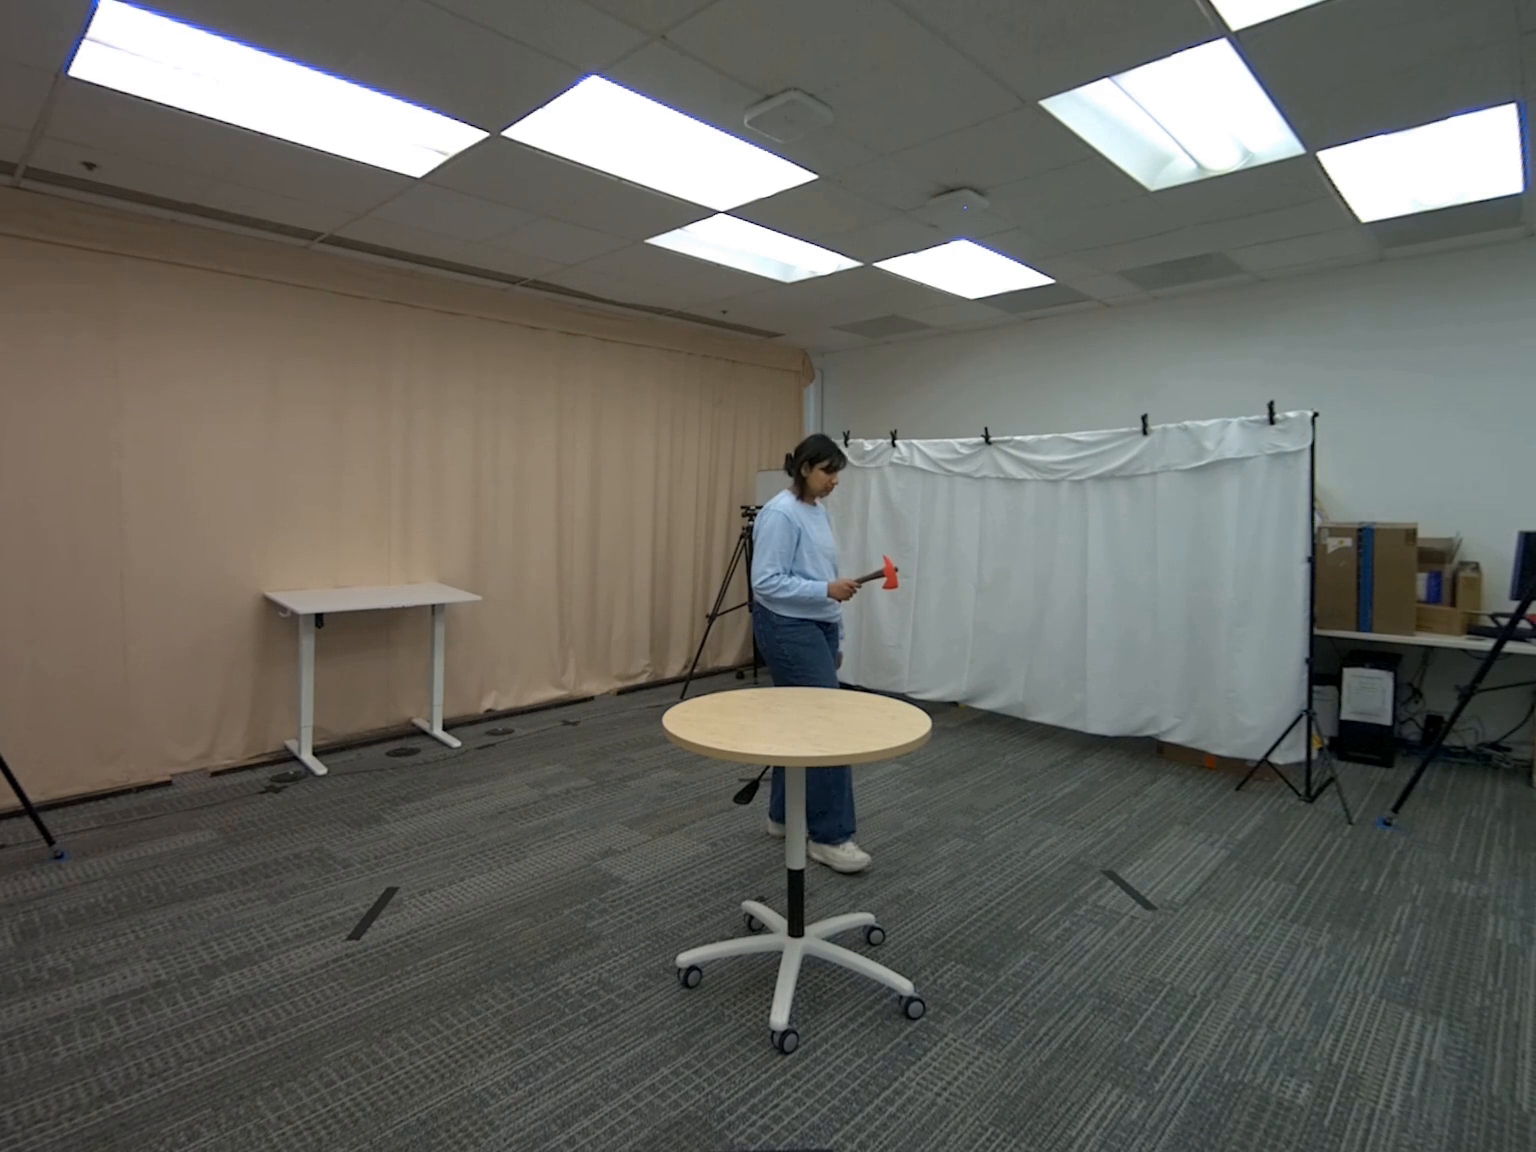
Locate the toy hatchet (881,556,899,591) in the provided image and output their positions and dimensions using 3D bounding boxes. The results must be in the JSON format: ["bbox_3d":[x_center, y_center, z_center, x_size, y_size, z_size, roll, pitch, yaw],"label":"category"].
[{"bbox_3d":[0.382,0.044,3.216,0.272,0.131,0.029,-39,0,20],"label":"toy hatchet"}]
